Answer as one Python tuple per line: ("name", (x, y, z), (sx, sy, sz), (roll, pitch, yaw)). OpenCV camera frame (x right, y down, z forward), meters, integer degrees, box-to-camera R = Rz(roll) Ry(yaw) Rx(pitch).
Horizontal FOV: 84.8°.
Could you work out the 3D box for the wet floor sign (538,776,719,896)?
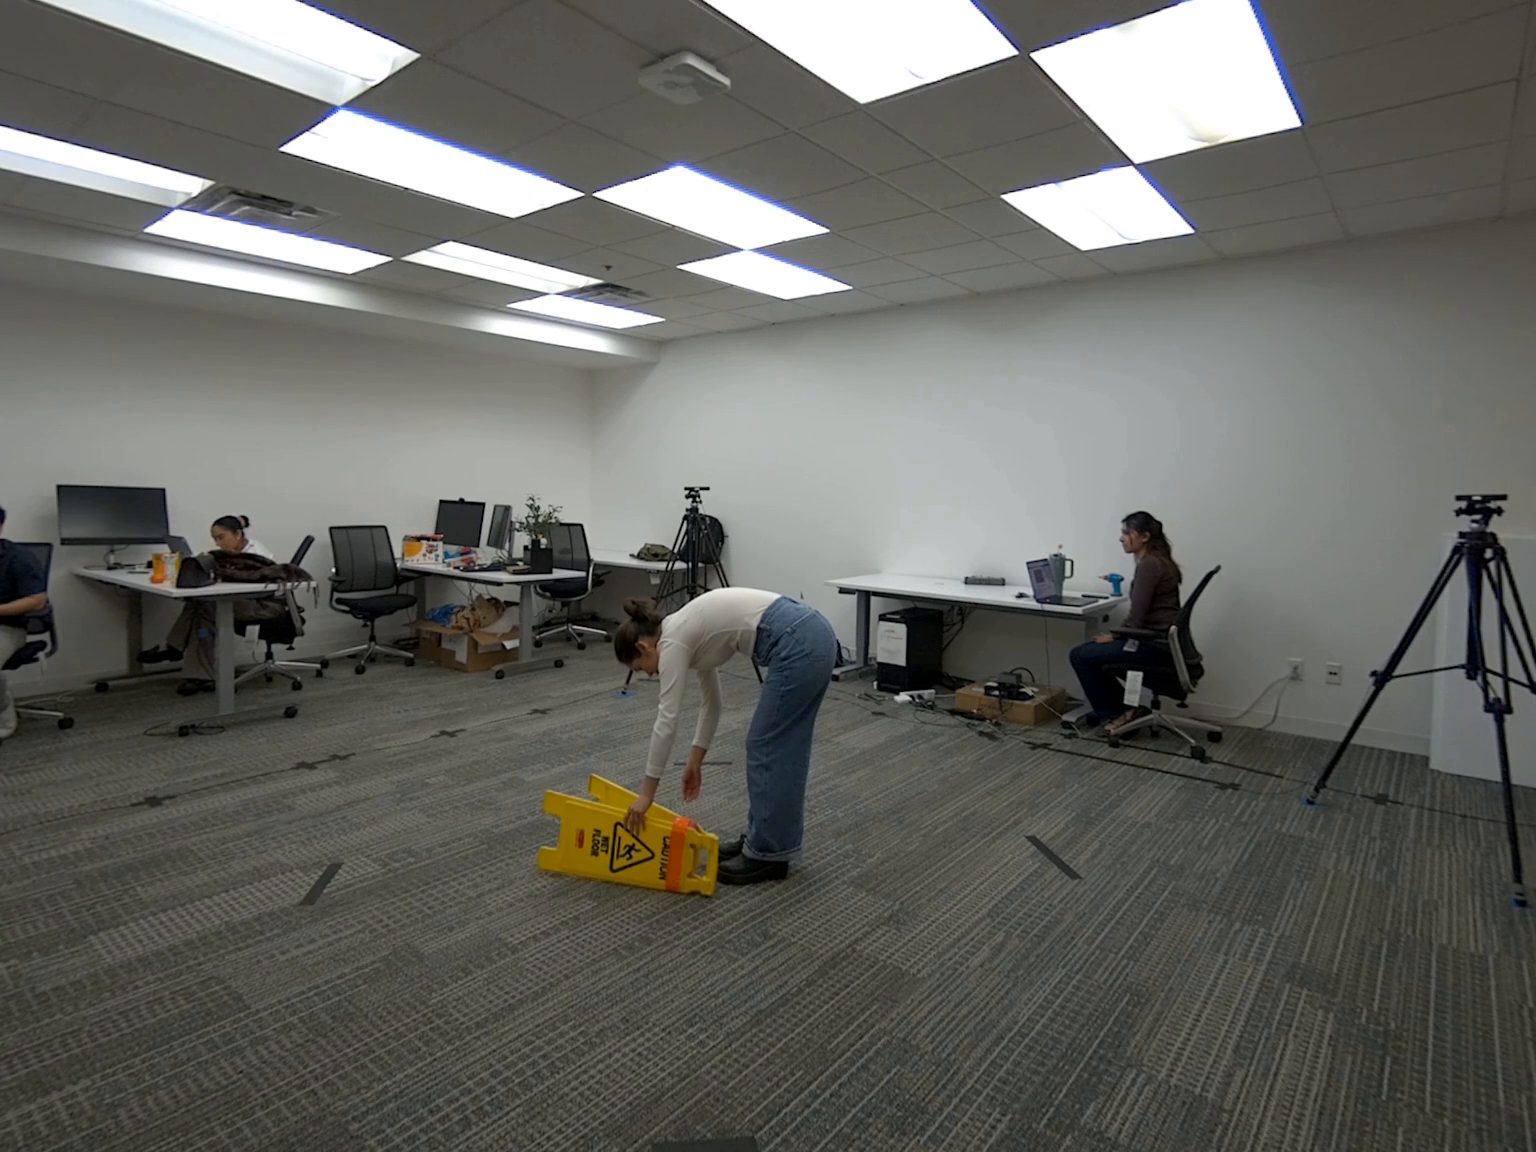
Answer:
("wet floor sign", (-0.473, 0.938, 3.034), (0.664, 0.282, 0.282), (8, 3, 26))
